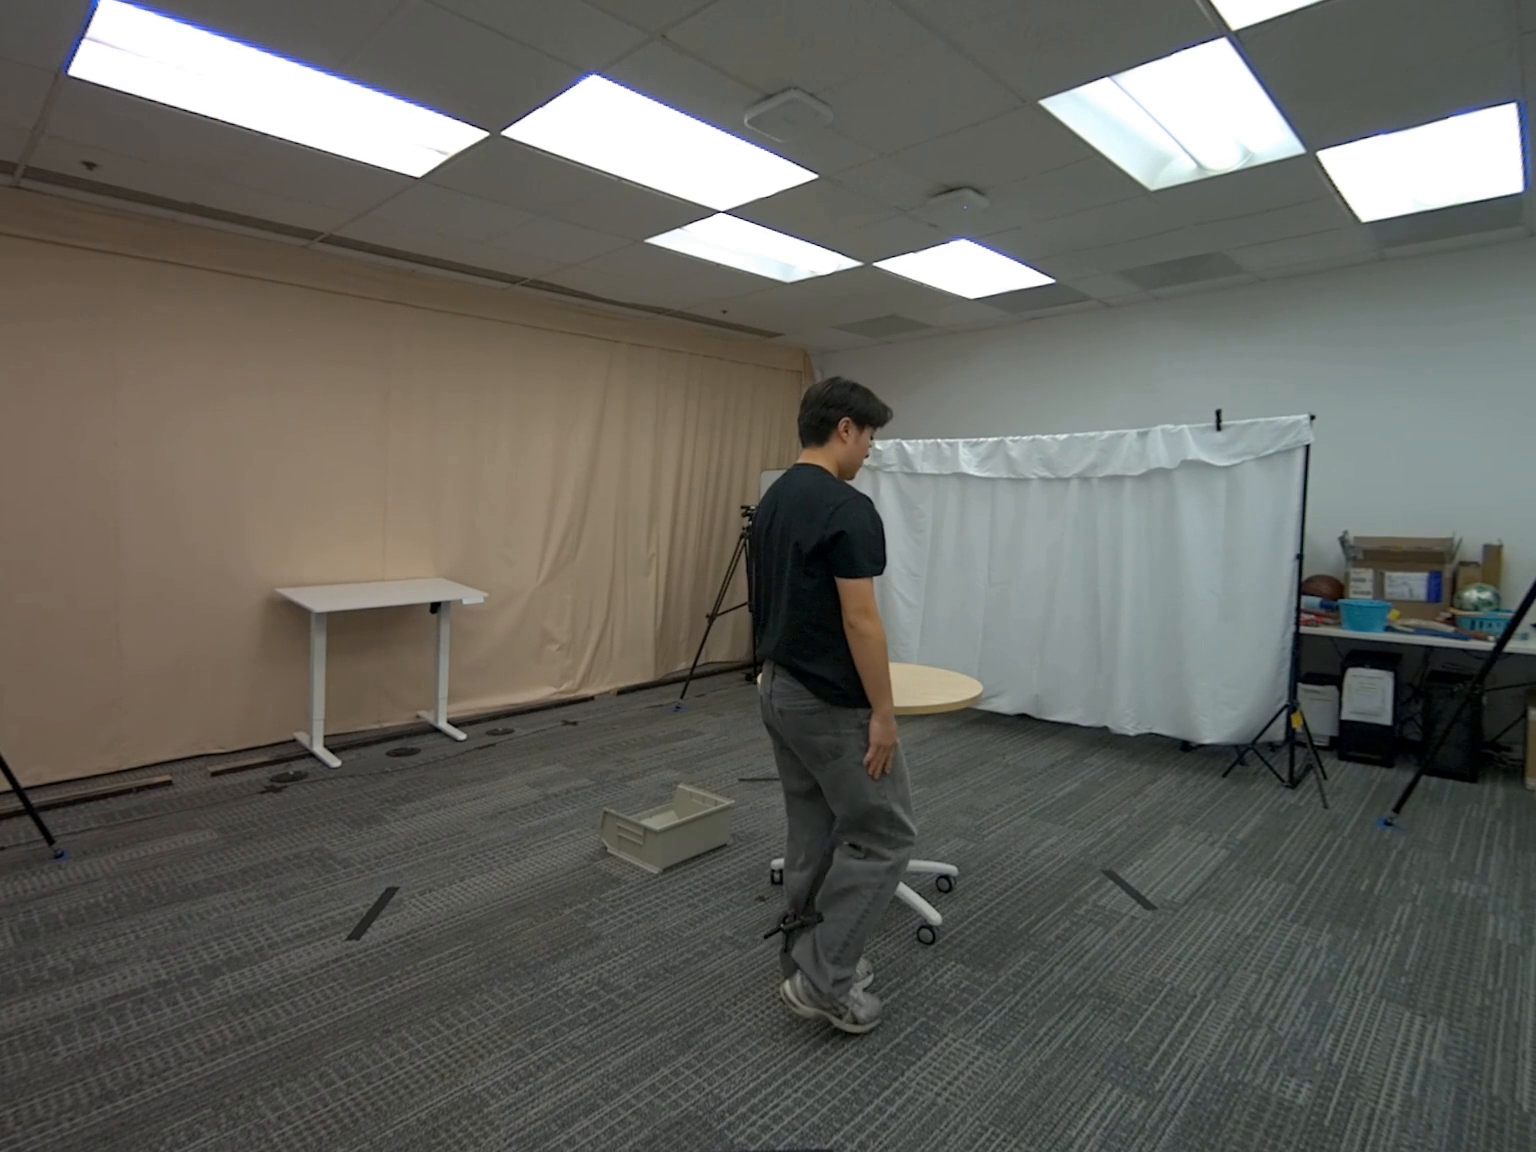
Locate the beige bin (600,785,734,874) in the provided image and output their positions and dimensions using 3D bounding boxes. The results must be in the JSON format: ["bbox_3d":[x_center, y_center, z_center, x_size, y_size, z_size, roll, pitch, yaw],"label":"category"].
[{"bbox_3d":[-0.415,1.020,3.450,0.390,0.188,0.409,5,7,44],"label":"beige bin"}]
